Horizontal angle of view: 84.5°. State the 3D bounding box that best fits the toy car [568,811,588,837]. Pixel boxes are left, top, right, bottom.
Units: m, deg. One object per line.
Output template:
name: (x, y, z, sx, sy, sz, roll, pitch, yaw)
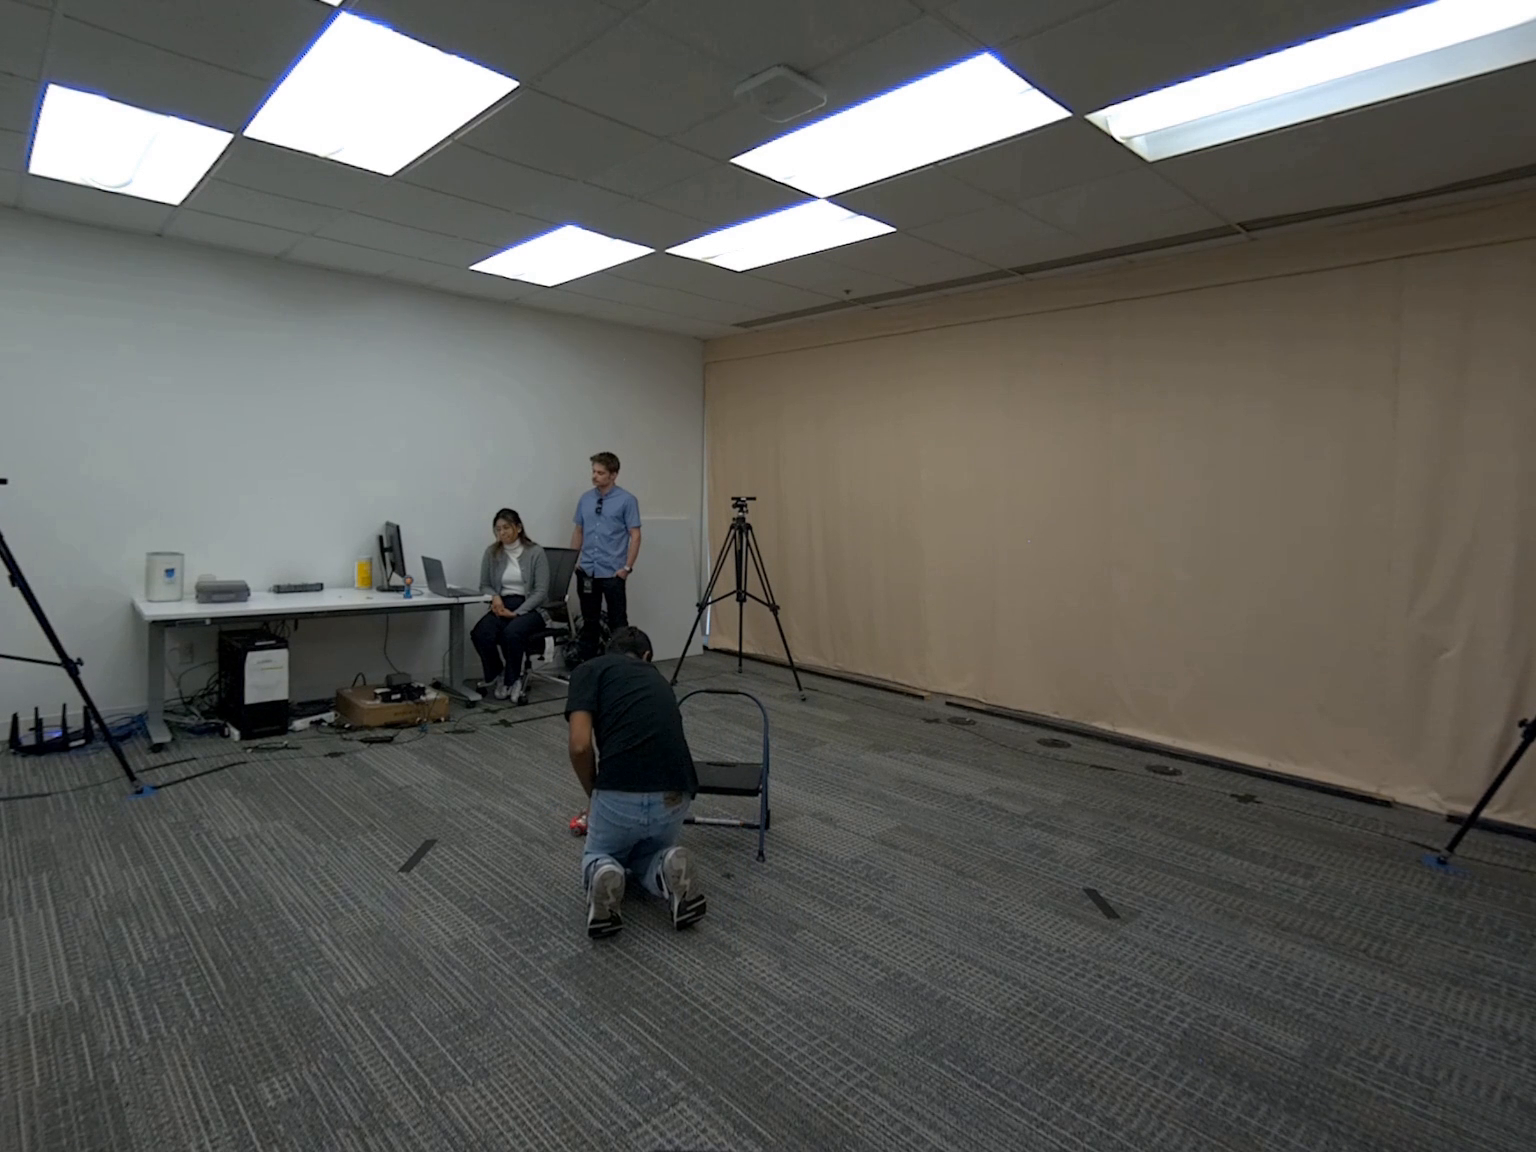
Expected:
toy car: (-0.664, 1.028, 3.476, 0.255, 0.083, 0.130, -10, 2, 5)
